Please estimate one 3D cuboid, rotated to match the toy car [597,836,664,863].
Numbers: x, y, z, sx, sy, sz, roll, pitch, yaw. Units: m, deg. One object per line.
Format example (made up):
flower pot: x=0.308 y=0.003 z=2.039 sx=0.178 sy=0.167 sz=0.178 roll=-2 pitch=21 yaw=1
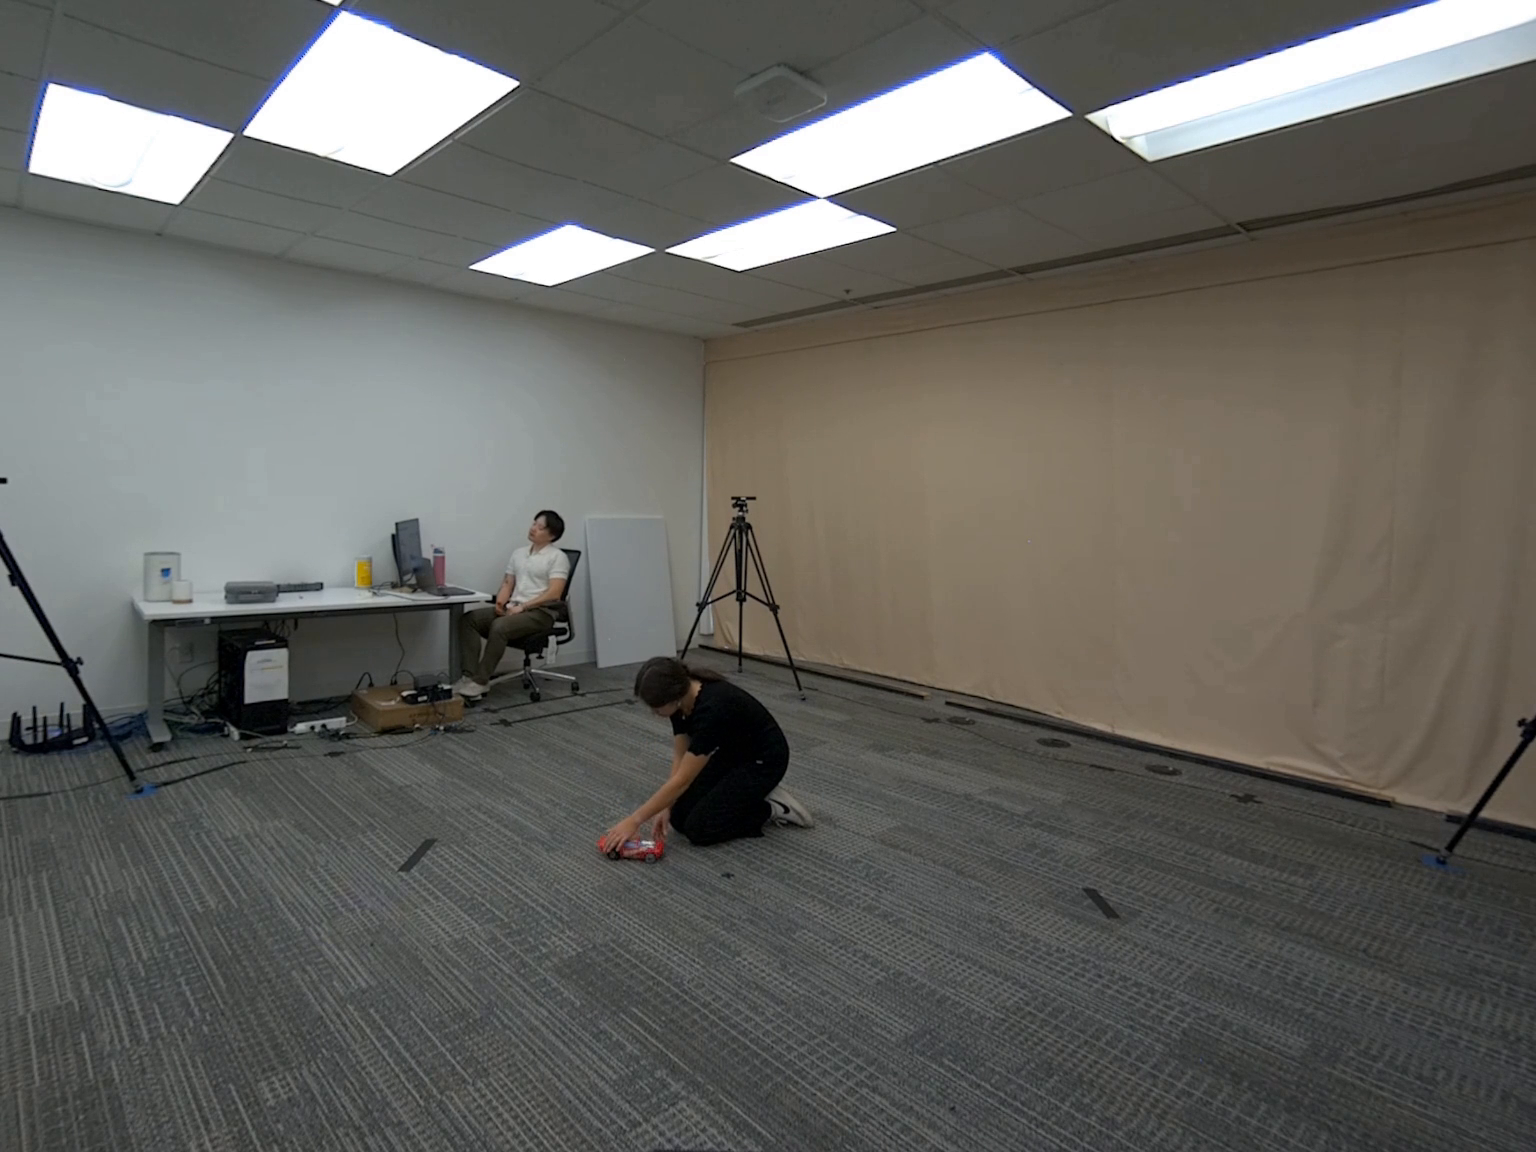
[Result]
toy car: x=-0.544 y=1.053 z=3.258 sx=0.256 sy=0.083 sz=0.129 roll=14 pitch=5 yaw=7
